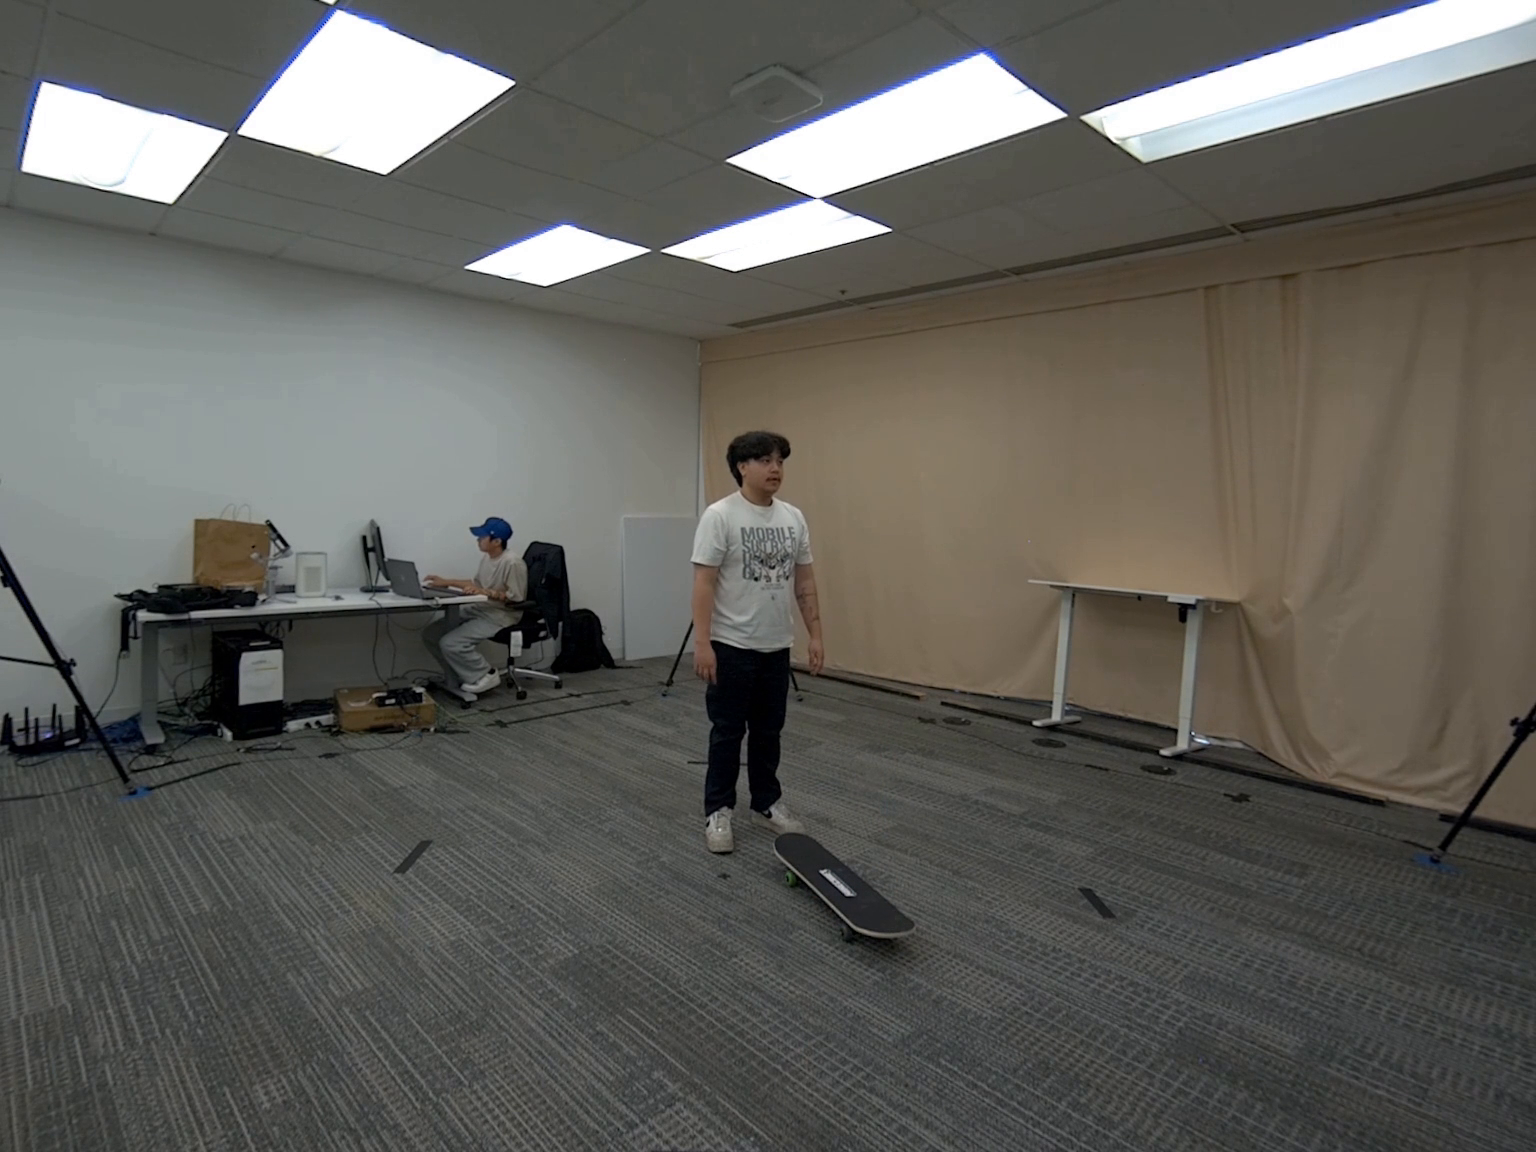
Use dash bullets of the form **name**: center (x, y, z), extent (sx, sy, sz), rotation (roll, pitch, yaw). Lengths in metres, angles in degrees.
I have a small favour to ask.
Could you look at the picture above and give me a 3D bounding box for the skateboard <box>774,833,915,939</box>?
- **skateboard**: center (0.226, 1.079, 2.885), extent (0.190, 0.110, 0.801), rotation (-1, 6, -24)
